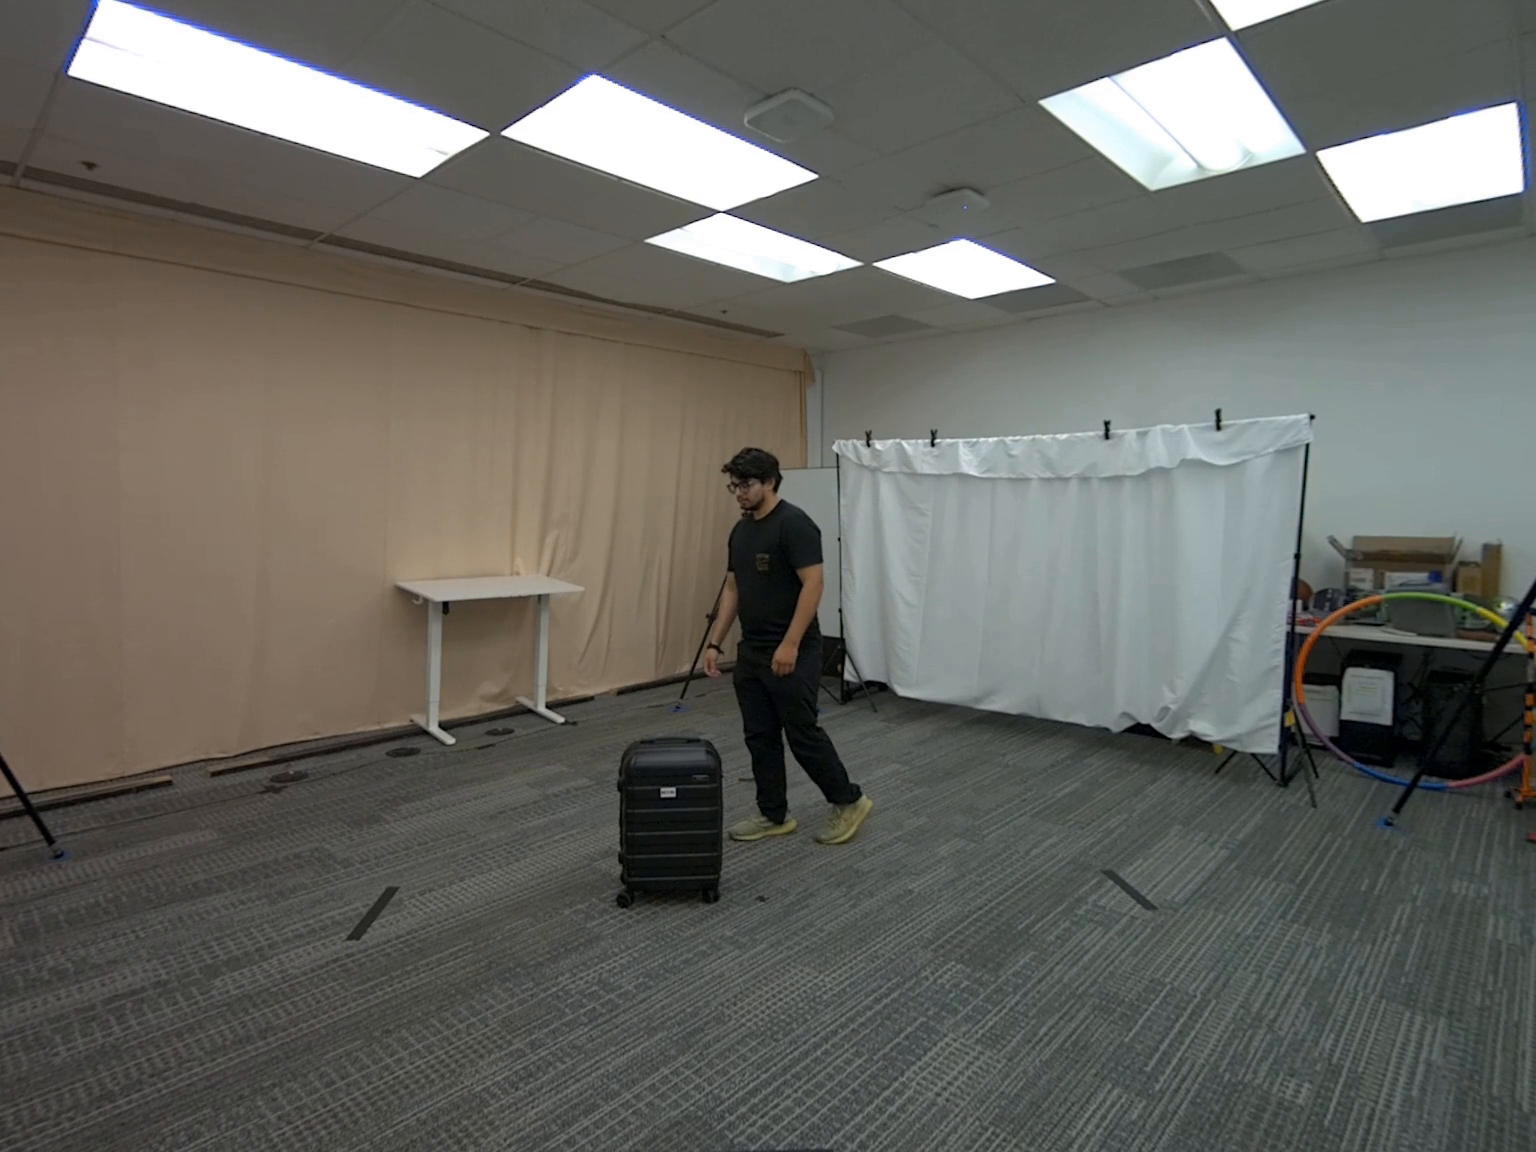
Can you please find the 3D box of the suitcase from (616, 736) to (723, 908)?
[{"bbox_3d":[-0.348,0.865,3.025,0.373,0.548,0.250,0,3,-6],"label":"suitcase"}]
